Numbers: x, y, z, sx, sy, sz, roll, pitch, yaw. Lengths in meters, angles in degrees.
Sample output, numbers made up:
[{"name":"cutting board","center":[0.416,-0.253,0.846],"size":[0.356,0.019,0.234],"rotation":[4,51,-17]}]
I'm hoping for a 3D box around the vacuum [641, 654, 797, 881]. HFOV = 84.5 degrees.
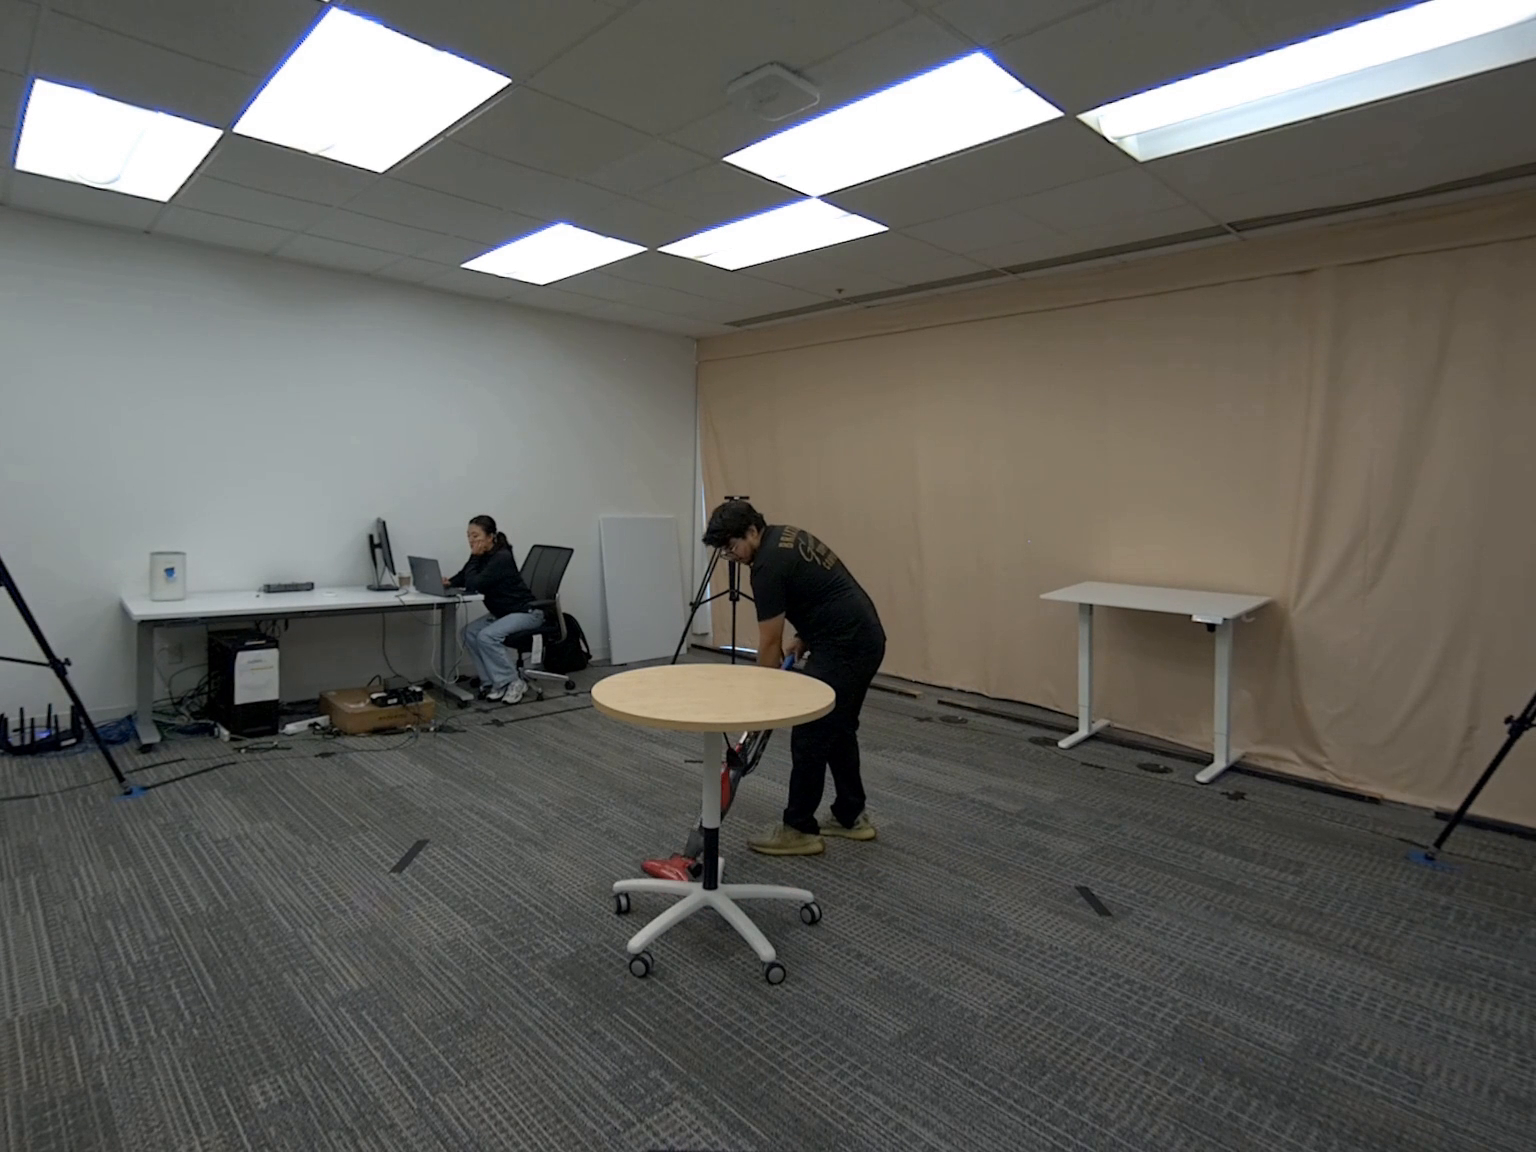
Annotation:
[{"name":"vacuum","center":[-0.111,0.706,3.311],"size":[0.259,1.054,0.140],"rotation":[7,-38,36]}]
